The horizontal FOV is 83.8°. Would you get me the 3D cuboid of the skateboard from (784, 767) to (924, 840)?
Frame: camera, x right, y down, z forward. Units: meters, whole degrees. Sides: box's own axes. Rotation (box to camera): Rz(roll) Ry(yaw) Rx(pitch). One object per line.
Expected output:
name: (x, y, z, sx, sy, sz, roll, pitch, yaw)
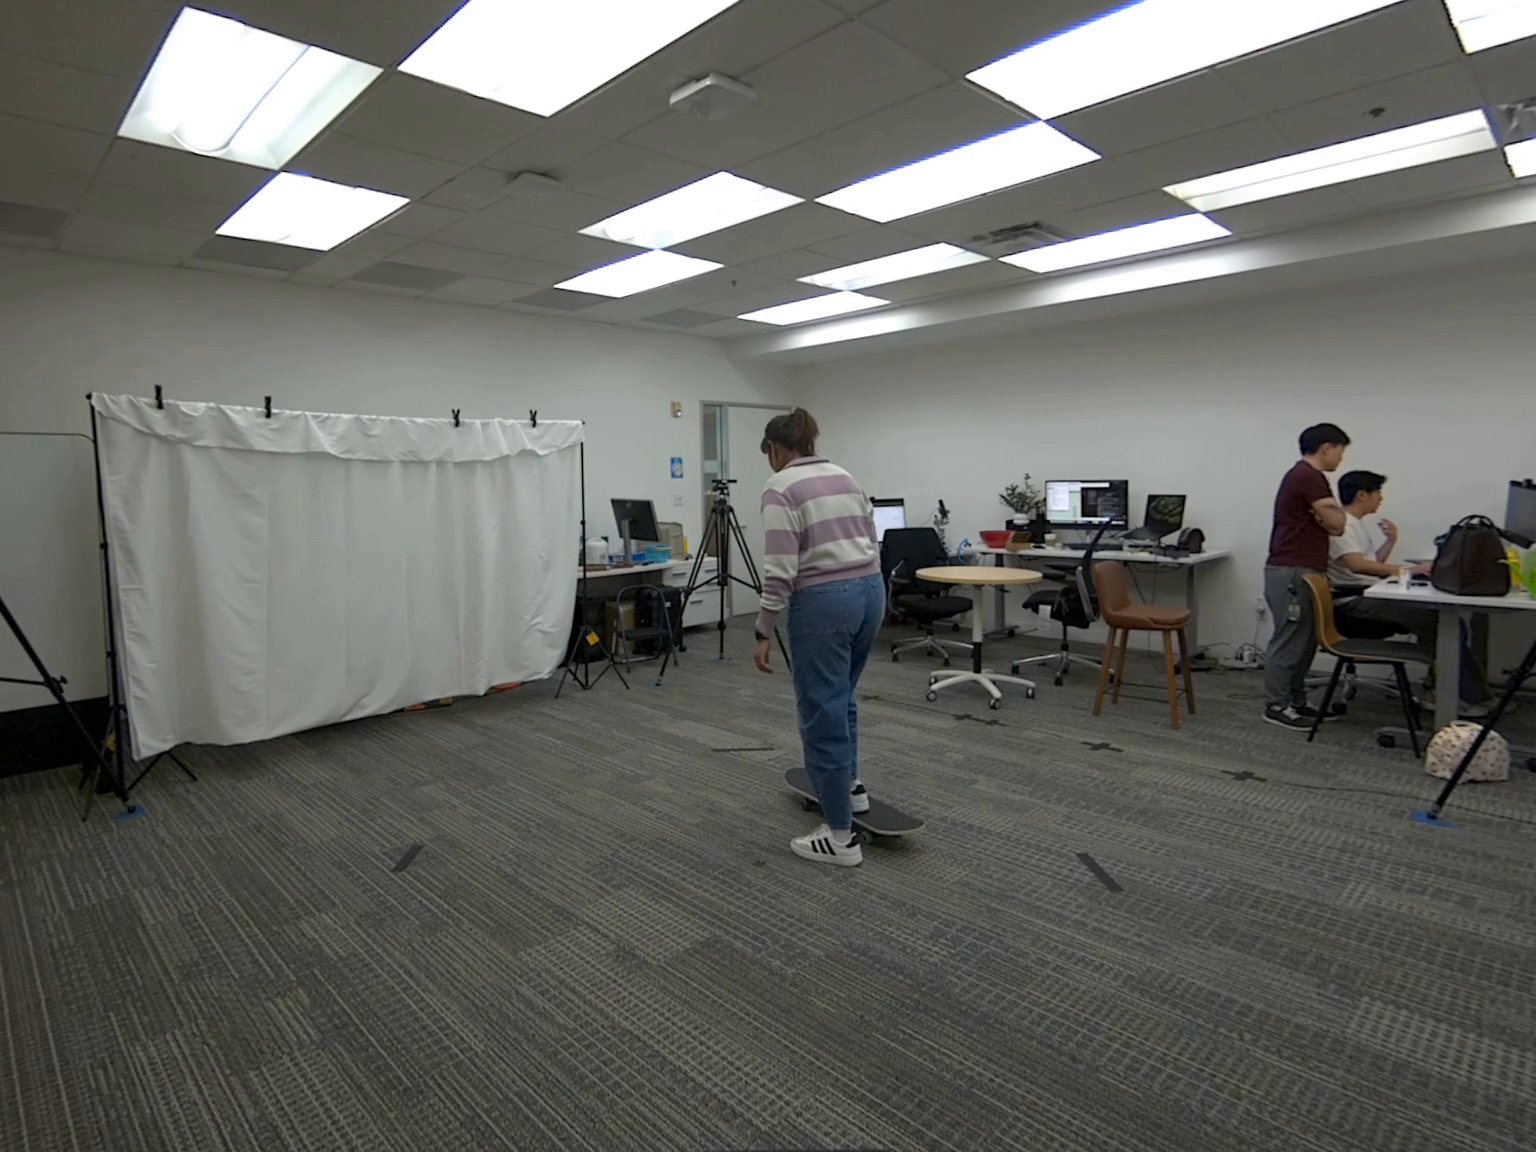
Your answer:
skateboard: (0.336, 0.945, 3.467, 0.189, 0.110, 0.808, -6, 8, -32)
